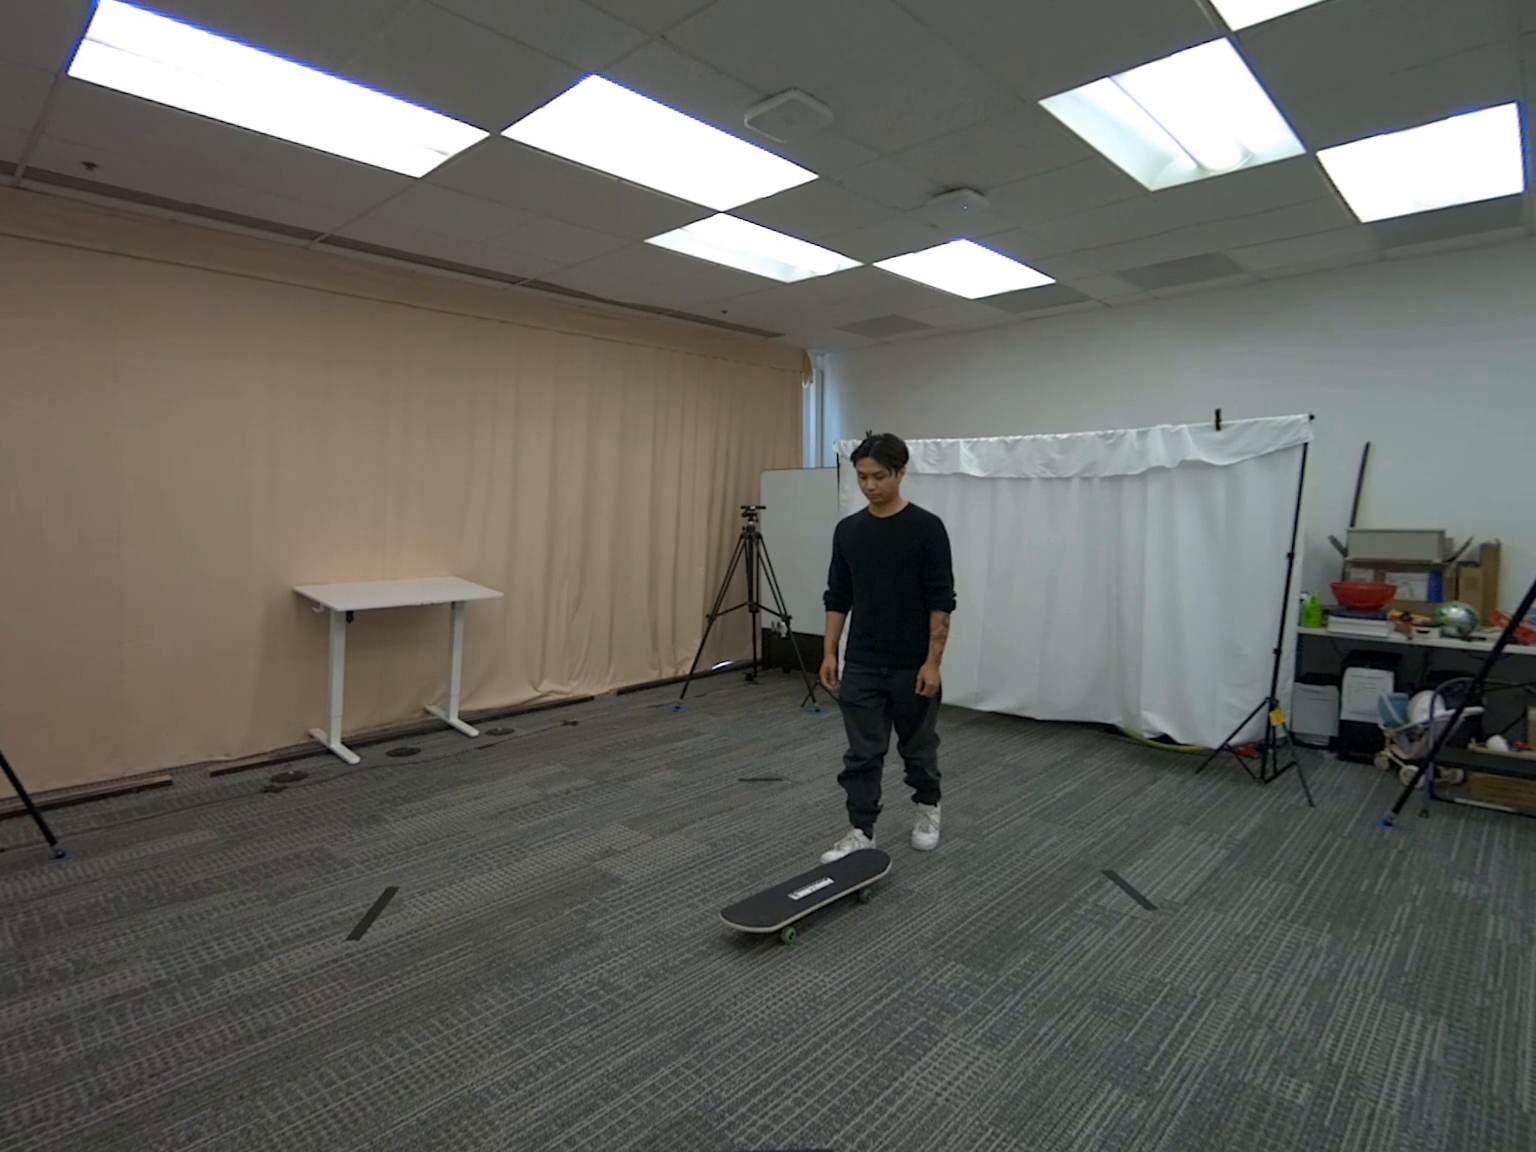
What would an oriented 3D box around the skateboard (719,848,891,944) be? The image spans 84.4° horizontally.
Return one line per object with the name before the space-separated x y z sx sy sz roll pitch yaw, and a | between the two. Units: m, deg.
skateboard | 0.146 1.100 2.864 0.761 0.110 0.200 -4 5 -43
